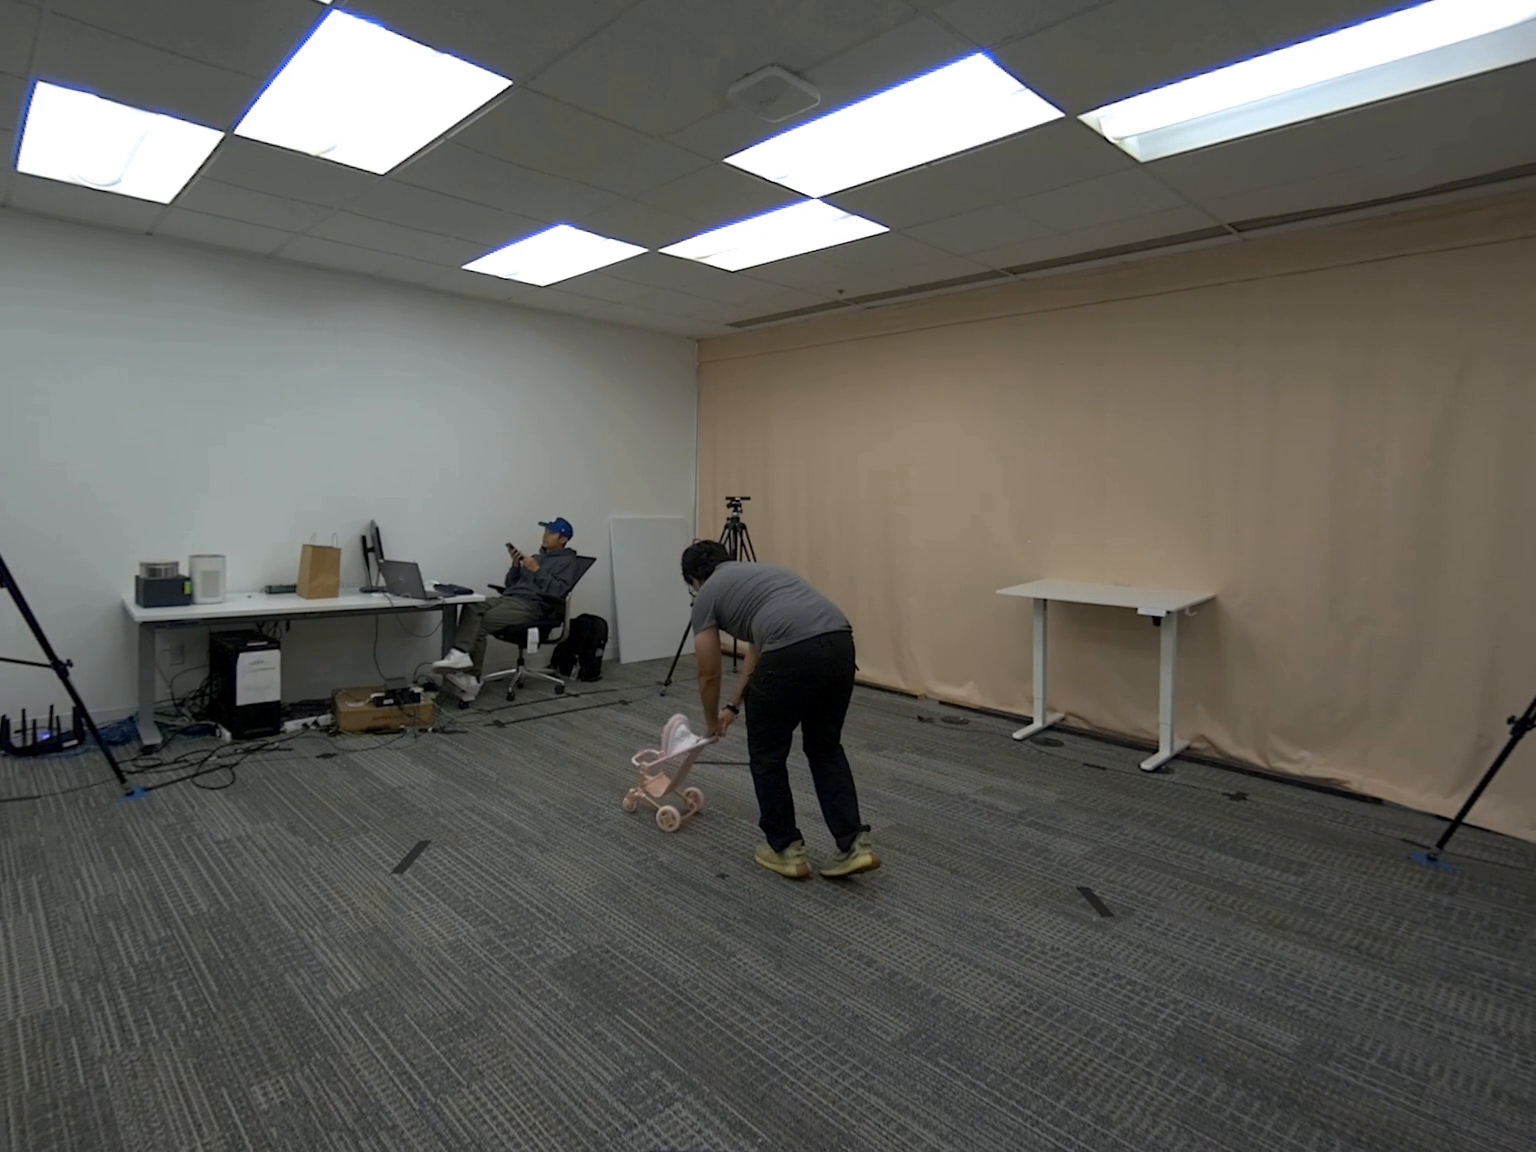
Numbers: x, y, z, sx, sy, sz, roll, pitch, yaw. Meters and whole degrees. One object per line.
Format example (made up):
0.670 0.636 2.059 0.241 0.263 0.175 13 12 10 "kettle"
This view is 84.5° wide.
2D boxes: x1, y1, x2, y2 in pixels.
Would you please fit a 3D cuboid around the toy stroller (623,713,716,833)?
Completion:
-0.425 0.832 3.631 0.349 0.532 0.276 23 12 23 "toy stroller"
